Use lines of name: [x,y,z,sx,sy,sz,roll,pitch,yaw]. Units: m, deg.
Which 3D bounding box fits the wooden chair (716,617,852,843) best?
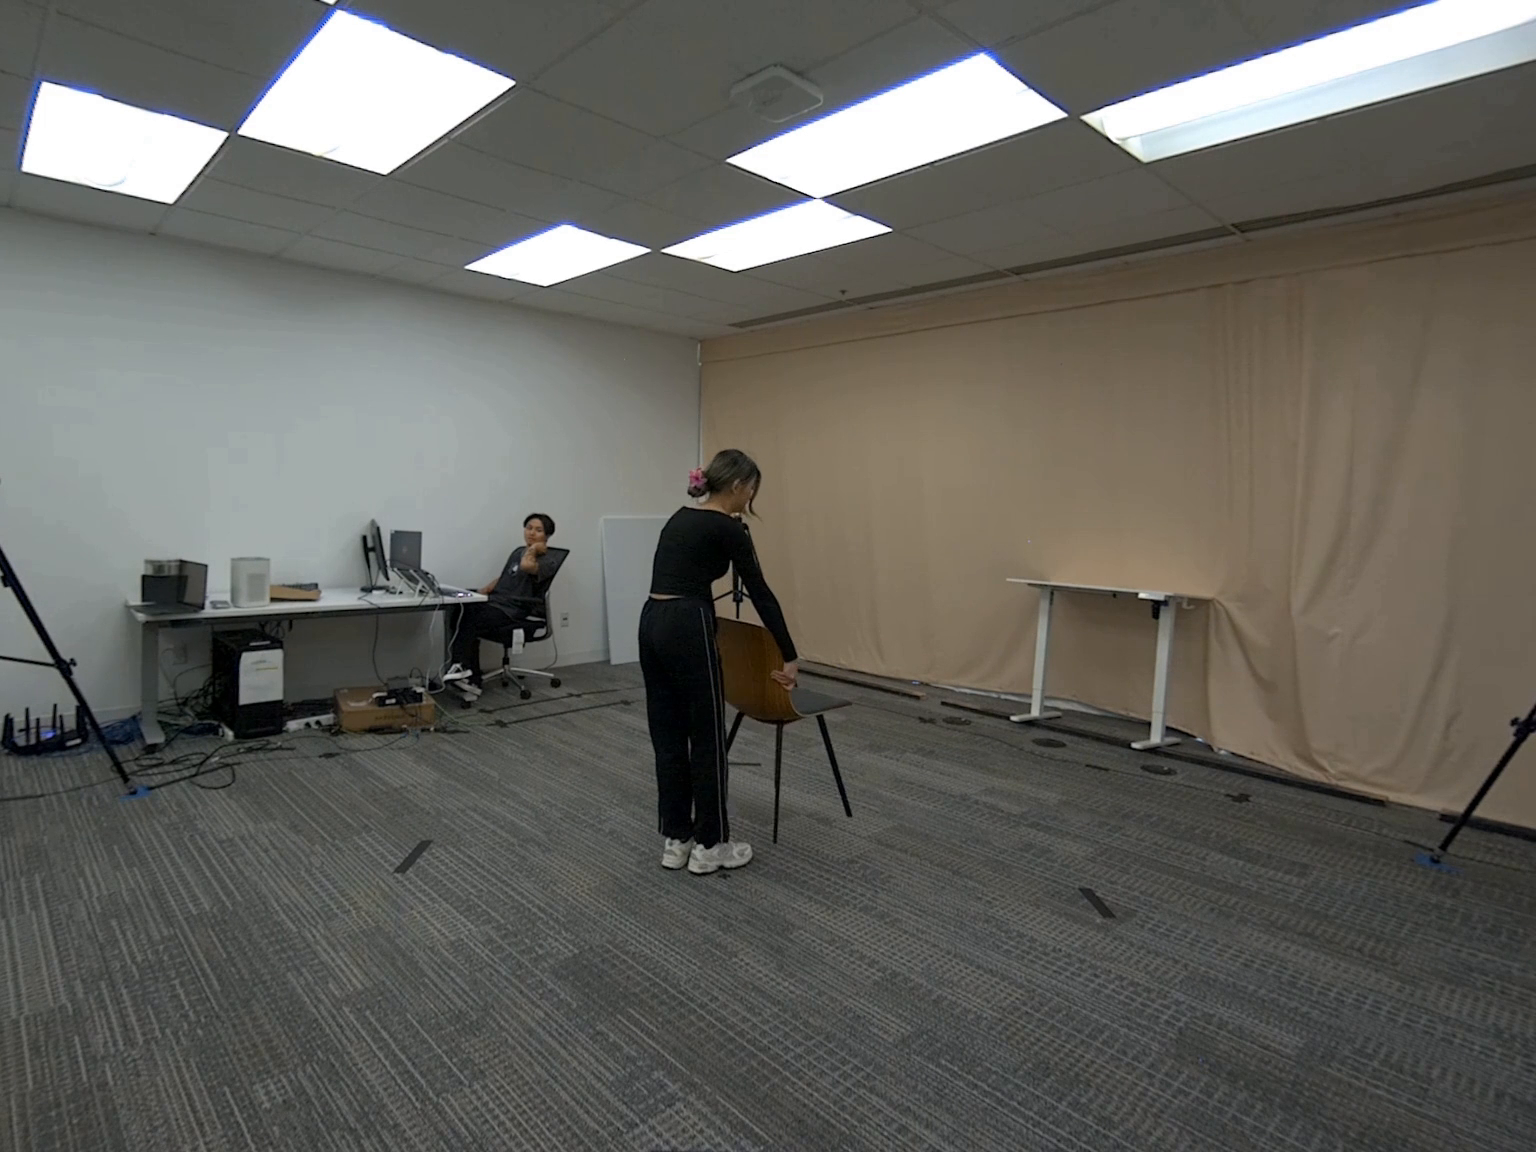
wooden chair: [0.047,0.571,3.494,0.512,0.873,0.490,-8,9,-43]
